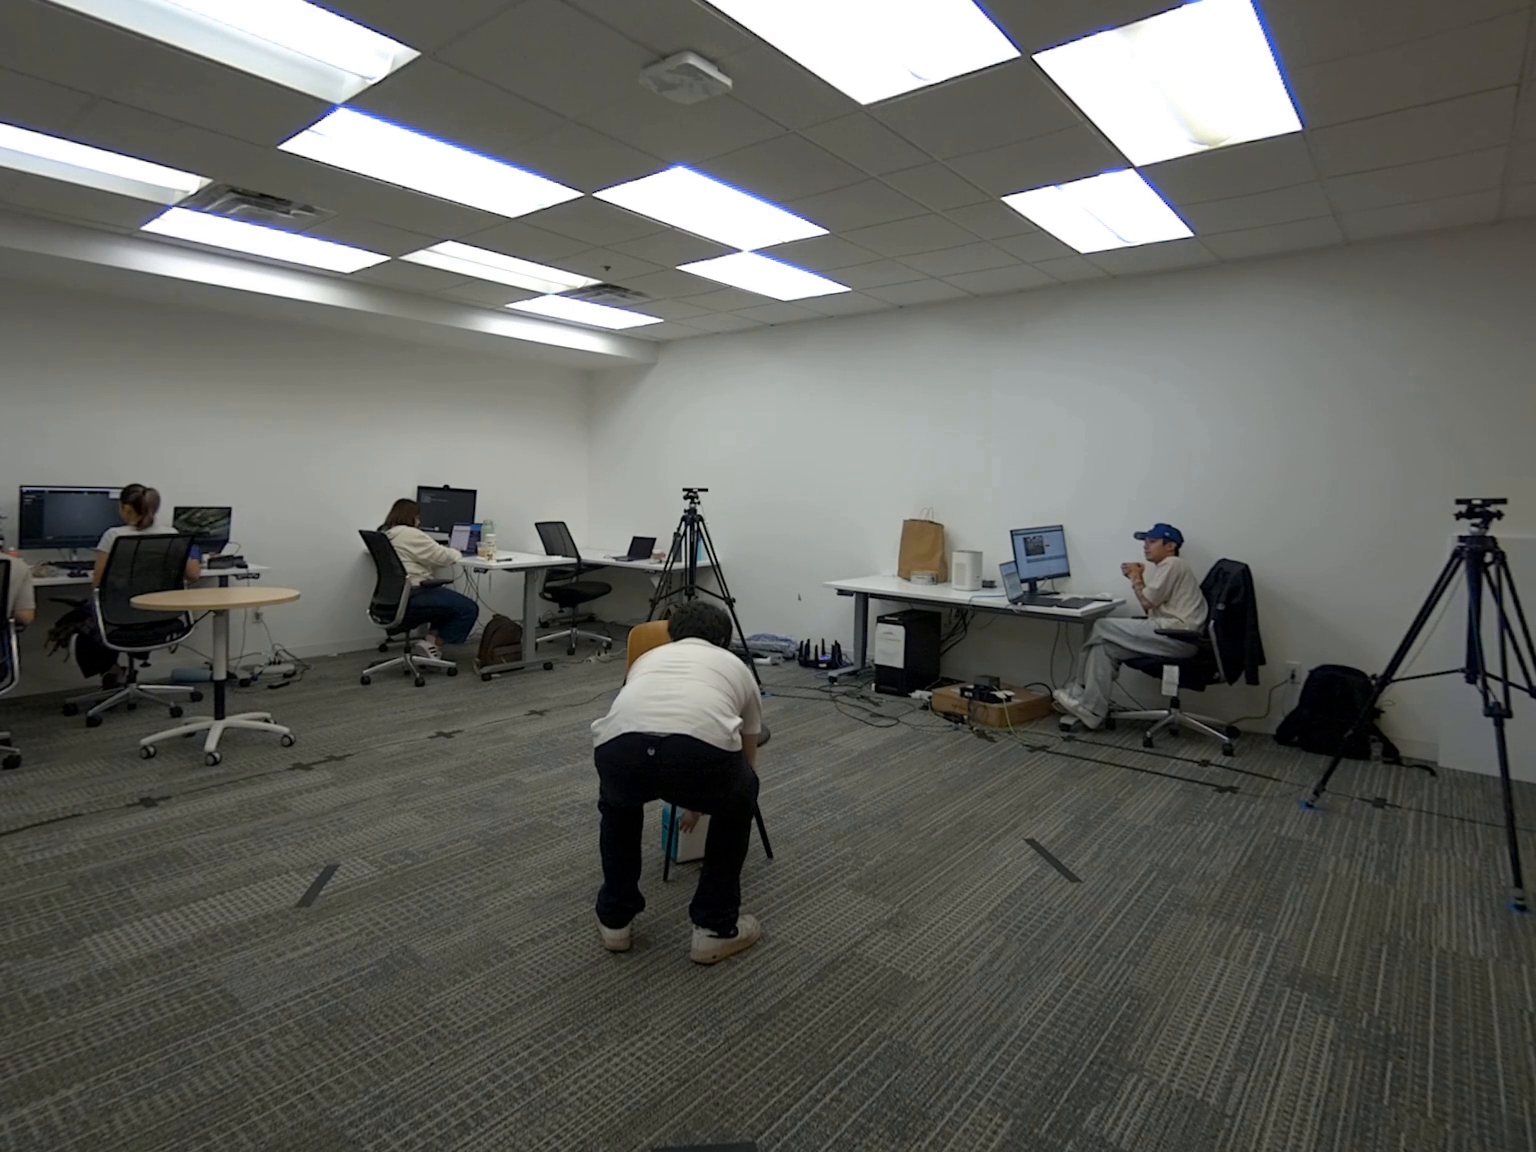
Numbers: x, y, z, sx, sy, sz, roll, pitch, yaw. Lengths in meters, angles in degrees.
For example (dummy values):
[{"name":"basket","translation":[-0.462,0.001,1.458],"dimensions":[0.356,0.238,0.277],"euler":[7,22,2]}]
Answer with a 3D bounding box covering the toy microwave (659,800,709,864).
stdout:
[{"name":"toy microwave","translation":[-0.256,0.960,3.235],"dimensions":[0.279,0.183,0.157],"euler":[0,4,-29]}]
